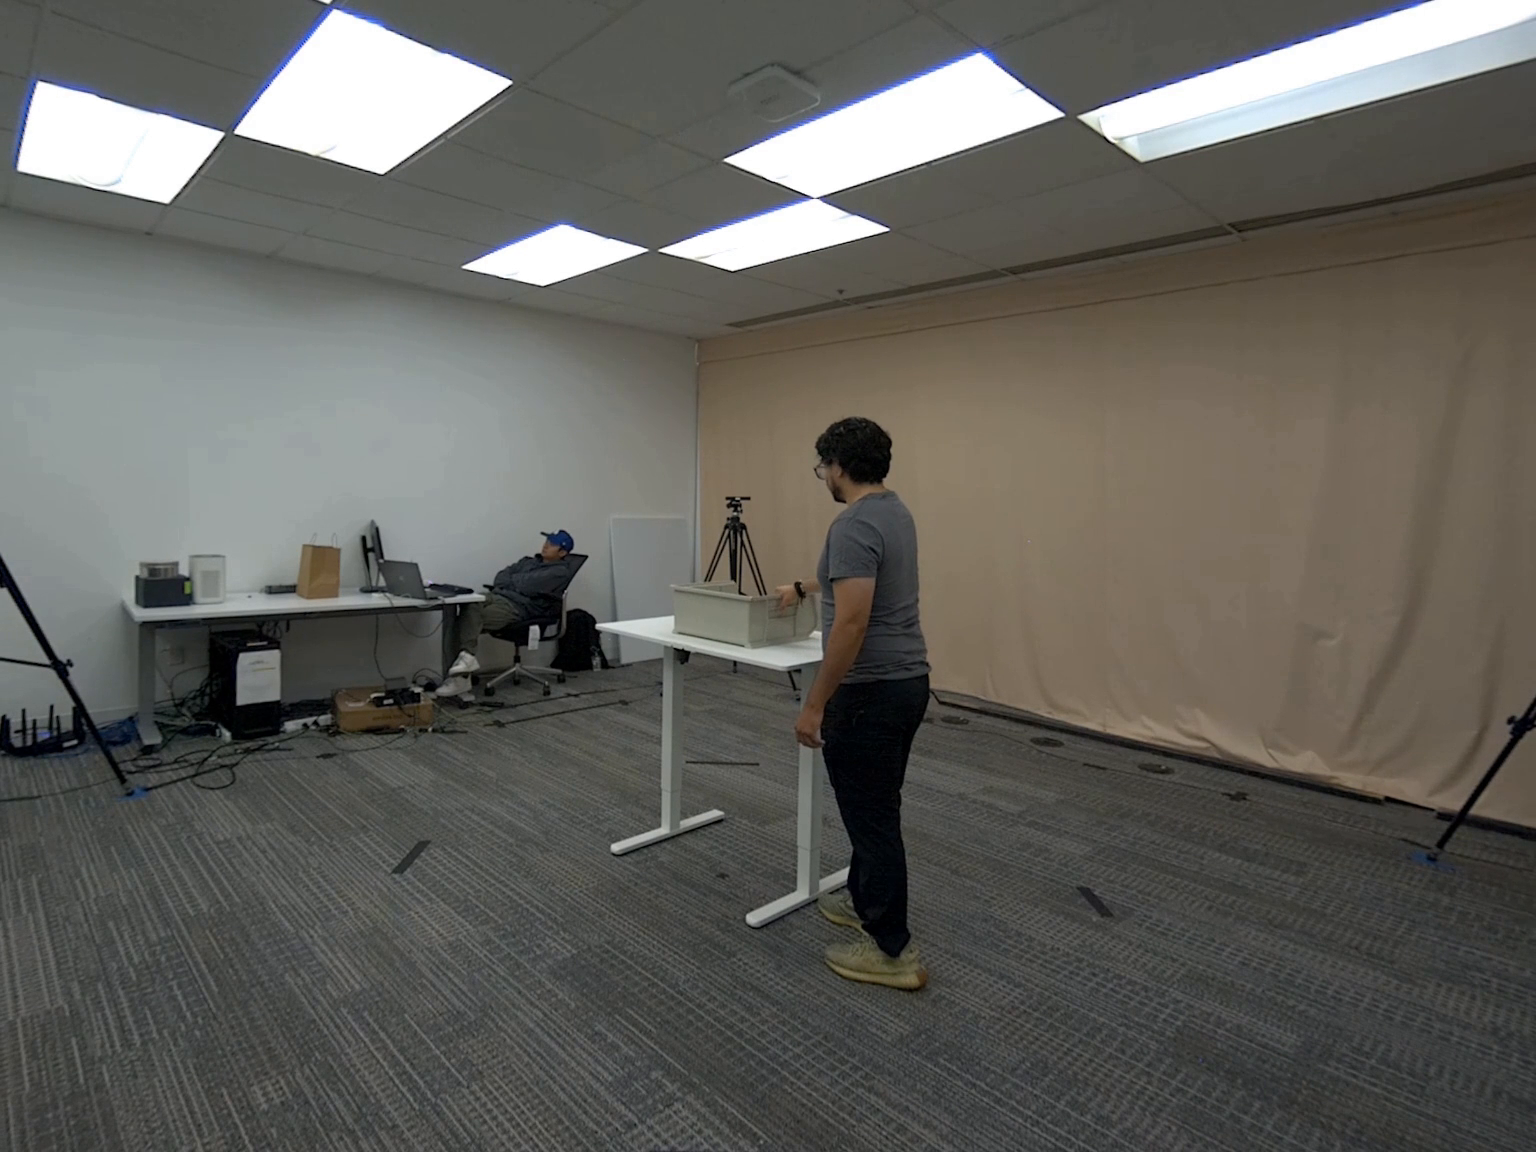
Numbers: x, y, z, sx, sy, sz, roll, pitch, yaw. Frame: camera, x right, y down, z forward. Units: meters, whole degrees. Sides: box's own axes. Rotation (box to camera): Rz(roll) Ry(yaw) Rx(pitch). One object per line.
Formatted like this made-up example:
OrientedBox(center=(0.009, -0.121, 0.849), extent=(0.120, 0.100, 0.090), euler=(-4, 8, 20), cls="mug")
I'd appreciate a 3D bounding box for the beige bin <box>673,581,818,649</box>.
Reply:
OrientedBox(center=(-0.094, 0.132, 3.123), extent=(0.433, 0.188, 0.369), euler=(7, 9, 43), cls="beige bin")
